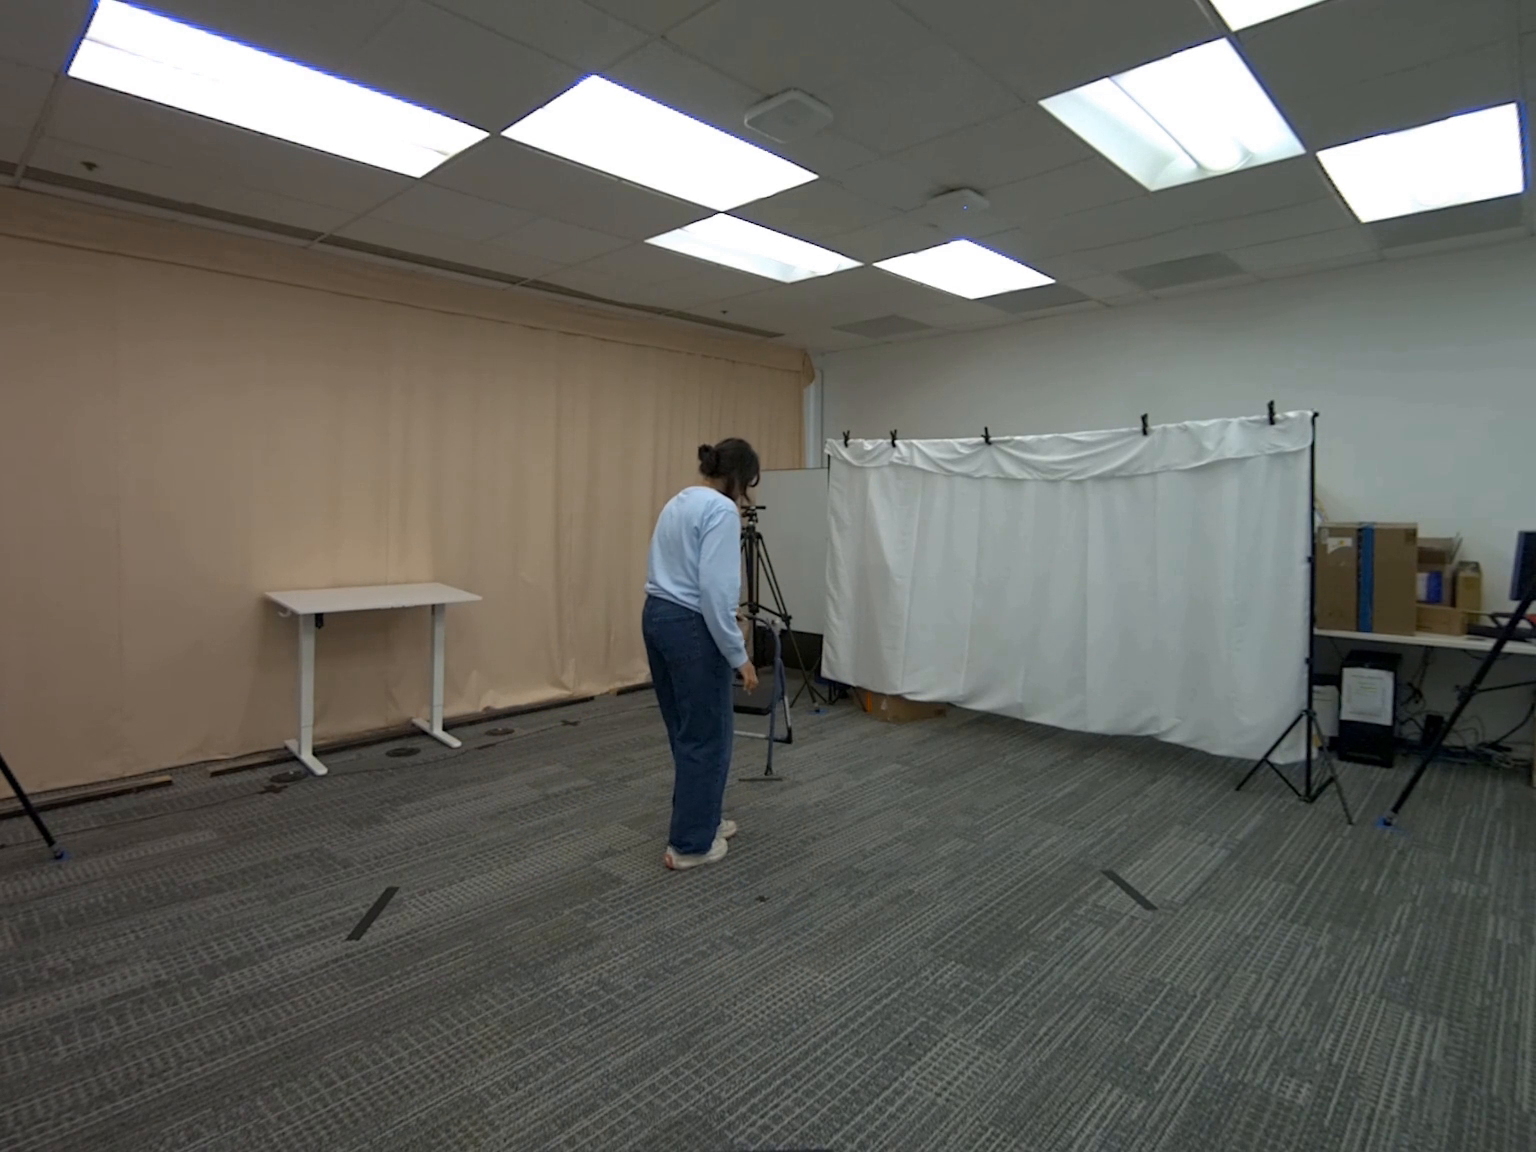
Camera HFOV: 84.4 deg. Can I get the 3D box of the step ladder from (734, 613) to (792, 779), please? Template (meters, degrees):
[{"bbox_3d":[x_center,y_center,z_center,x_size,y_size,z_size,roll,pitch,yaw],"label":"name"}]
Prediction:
[{"bbox_3d":[-0.139,0.485,3.653,0.440,0.601,0.344,3,13,20],"label":"step ladder"}]
